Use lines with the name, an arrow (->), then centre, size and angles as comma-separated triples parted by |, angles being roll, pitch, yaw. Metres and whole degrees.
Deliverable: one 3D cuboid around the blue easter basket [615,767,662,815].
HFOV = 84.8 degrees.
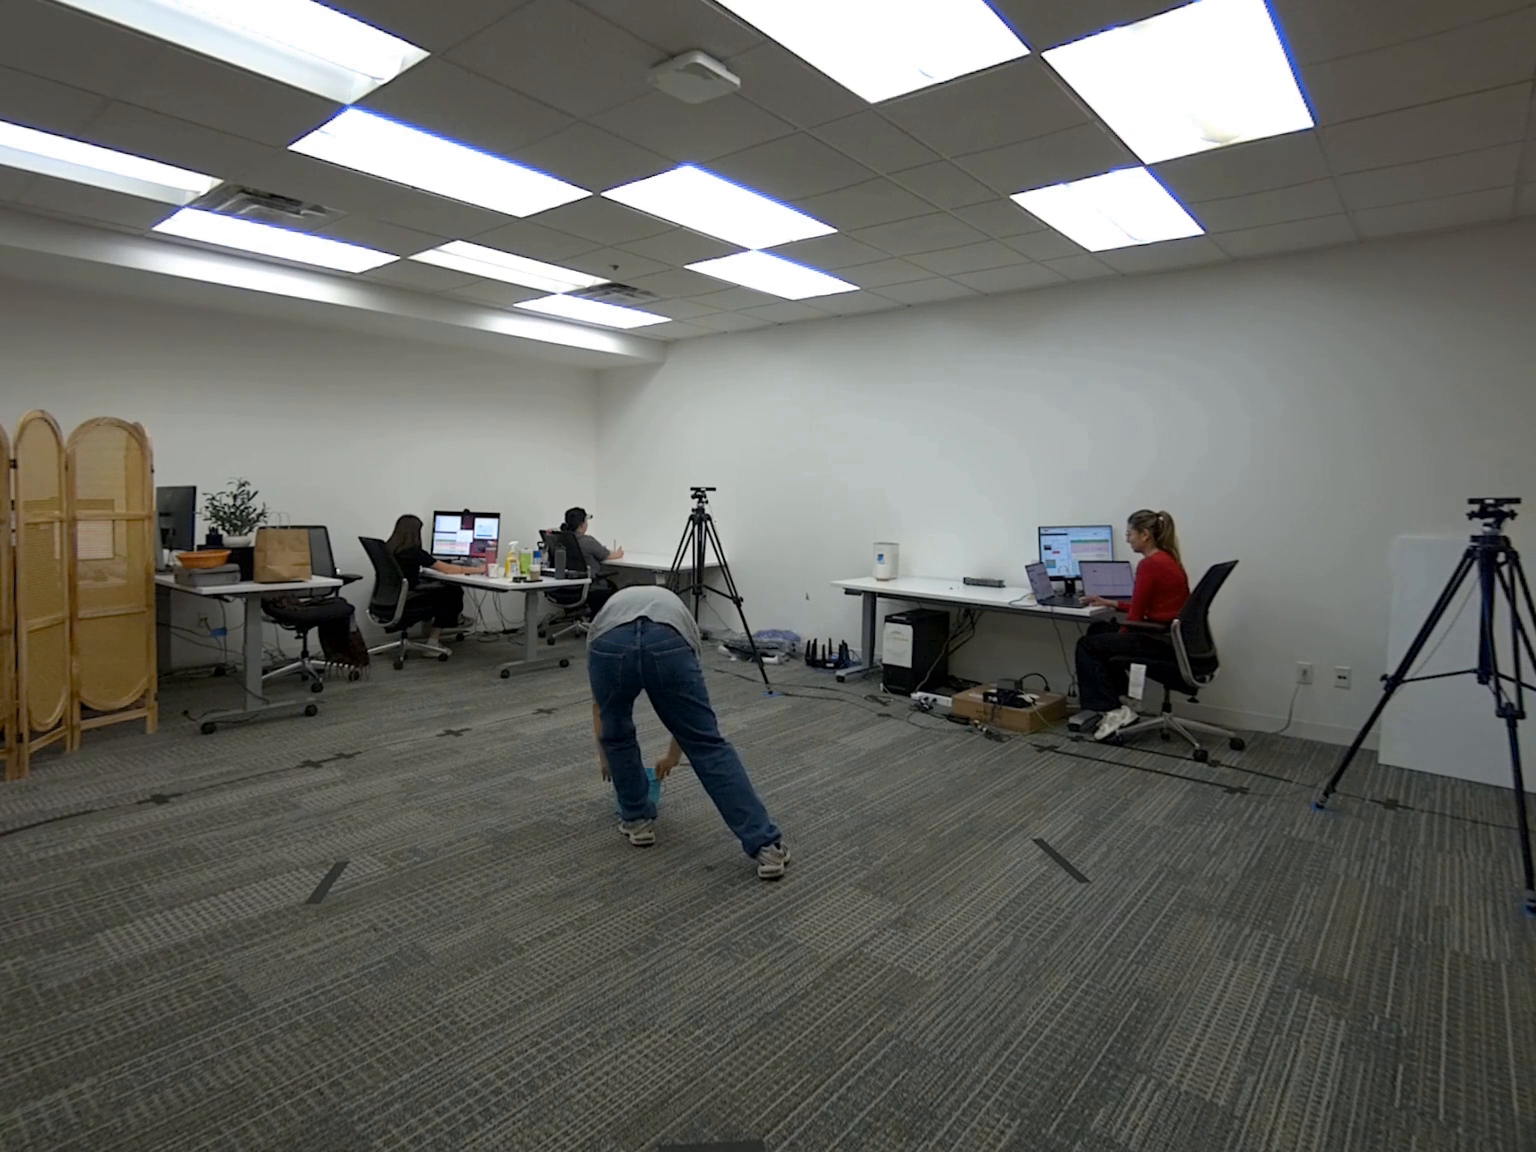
blue easter basket -> -0.581, 0.889, 3.665 | 0.243, 0.157, 0.243 | -8, -4, -2
